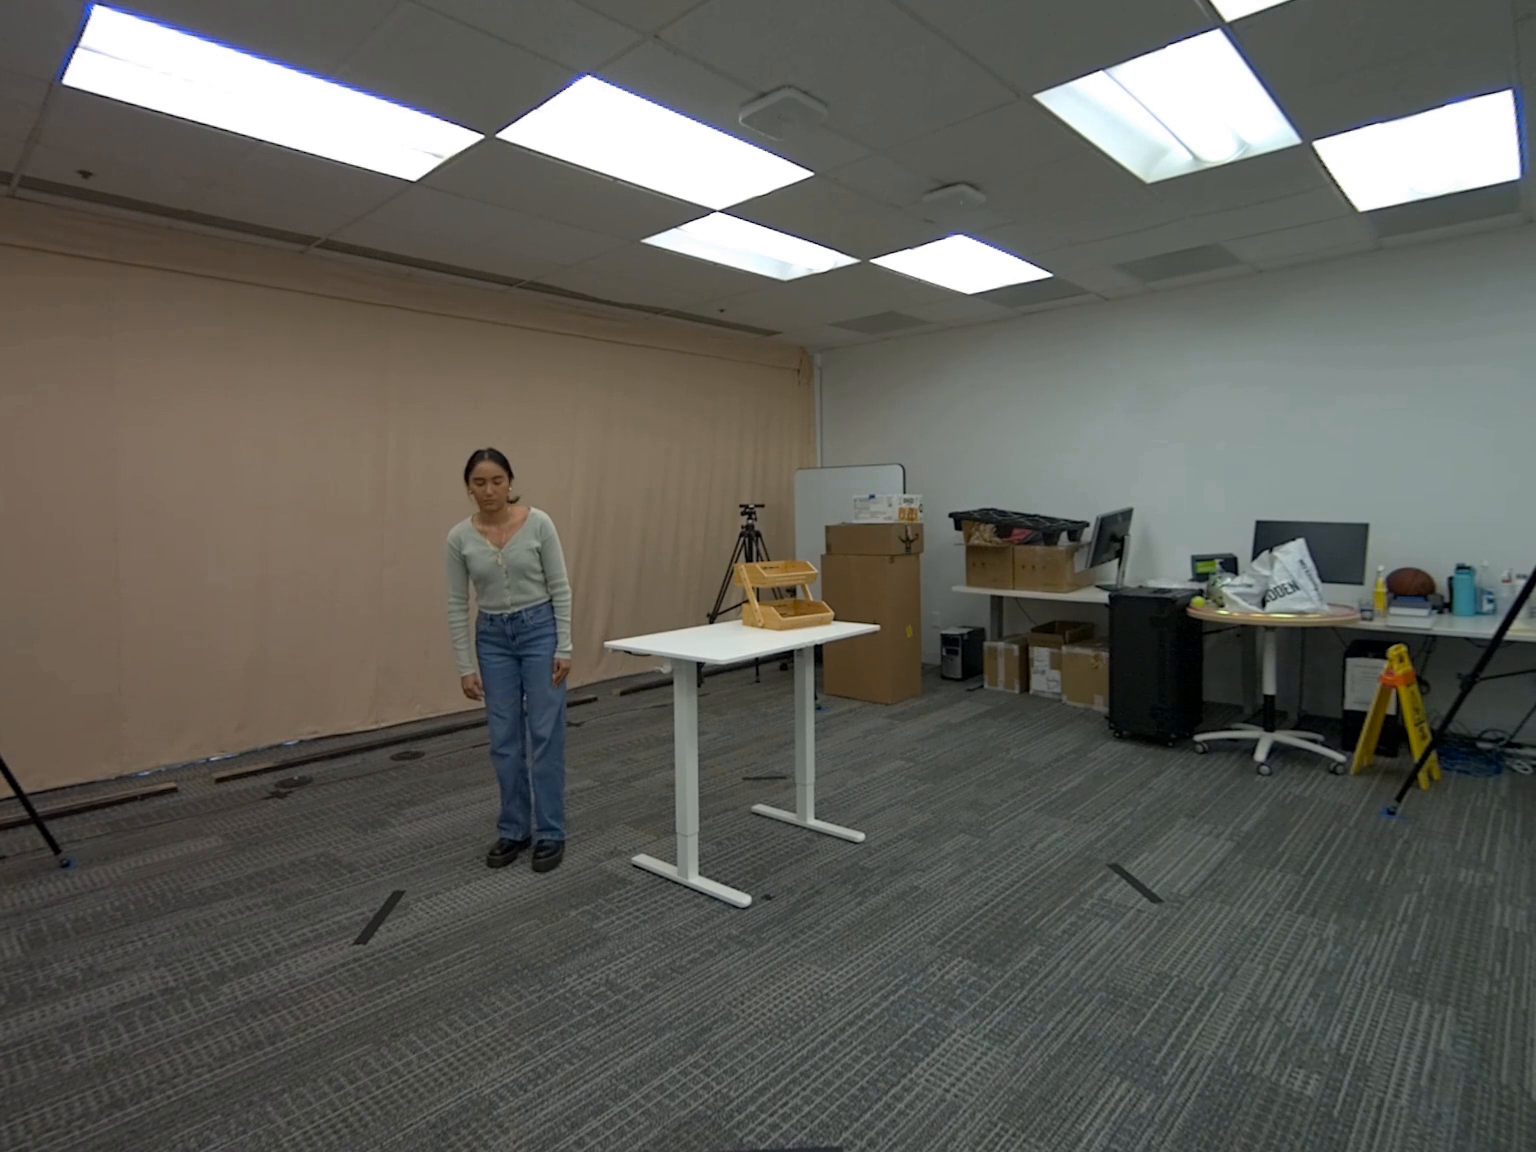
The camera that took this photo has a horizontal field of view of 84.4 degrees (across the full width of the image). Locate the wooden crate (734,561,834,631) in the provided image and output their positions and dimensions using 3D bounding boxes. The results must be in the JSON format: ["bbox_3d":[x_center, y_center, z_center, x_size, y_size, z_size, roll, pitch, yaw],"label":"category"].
[{"bbox_3d":[0.066,0.074,3.587,0.315,0.273,0.312,-3,4,-39],"label":"wooden crate"}]
